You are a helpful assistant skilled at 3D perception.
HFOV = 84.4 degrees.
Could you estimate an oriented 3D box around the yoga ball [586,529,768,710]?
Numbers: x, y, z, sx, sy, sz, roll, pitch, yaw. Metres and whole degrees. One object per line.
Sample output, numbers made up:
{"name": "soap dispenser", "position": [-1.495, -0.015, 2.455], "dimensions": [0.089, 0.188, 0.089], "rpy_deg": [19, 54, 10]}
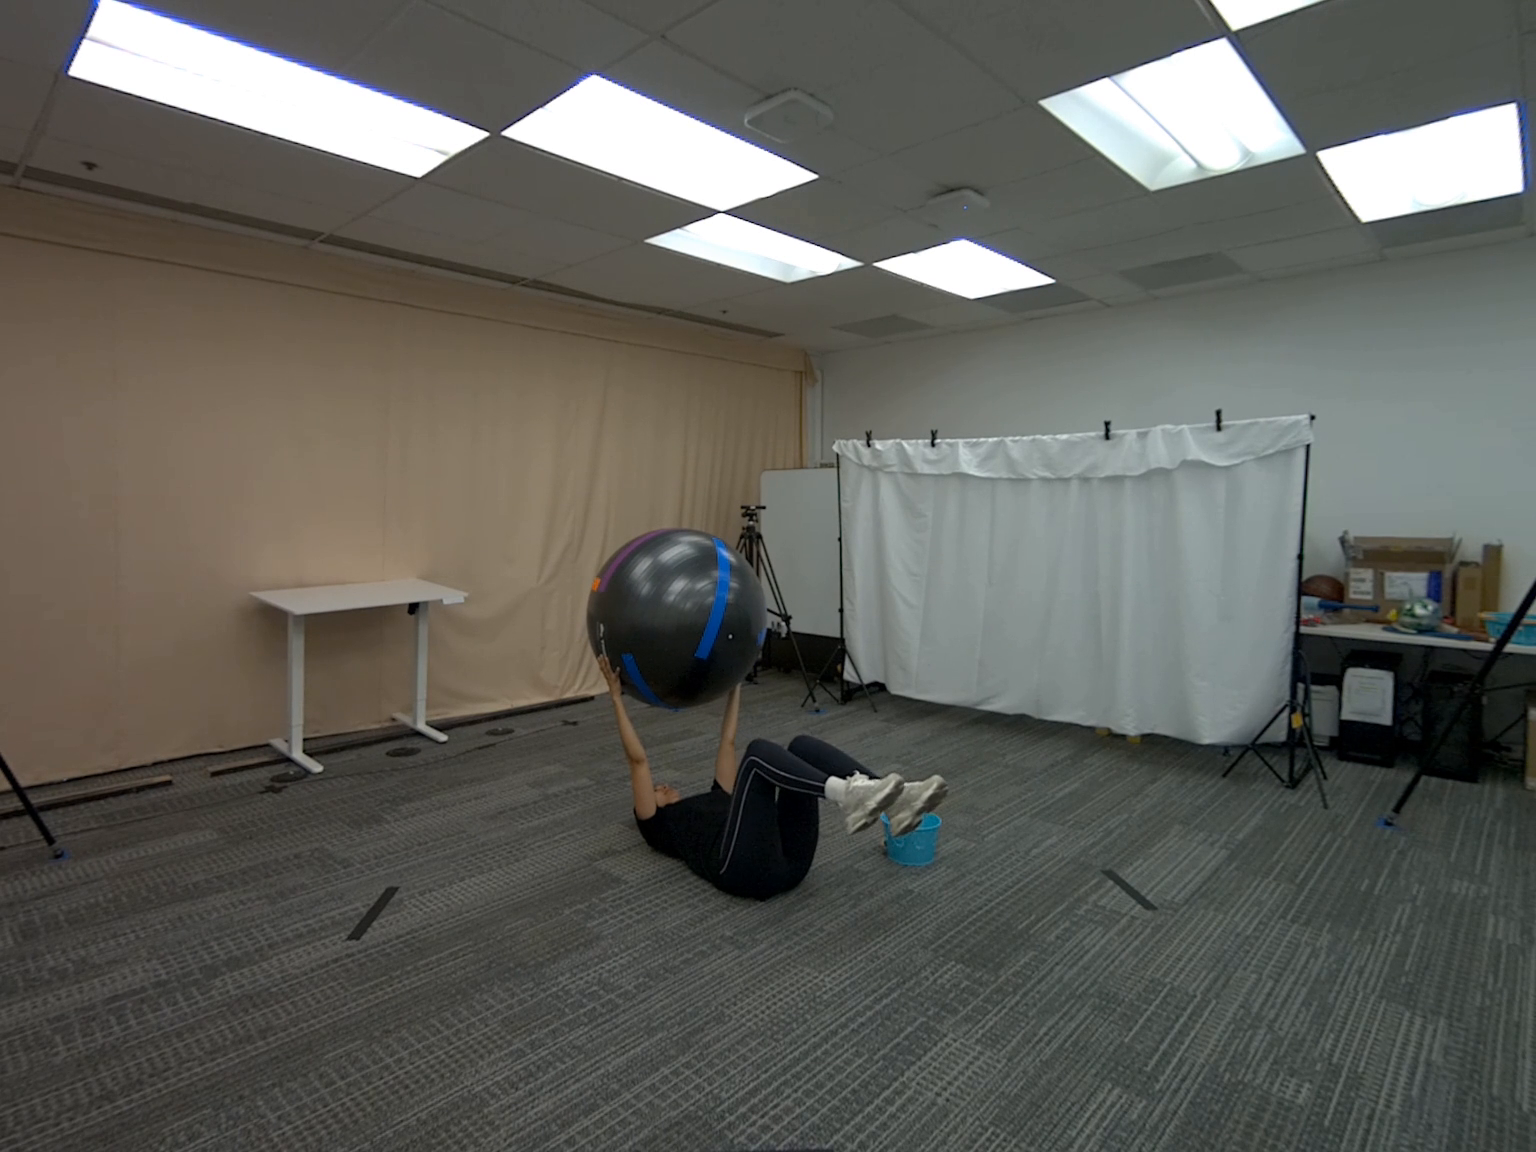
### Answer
{"name": "yoga ball", "position": [-0.383, 0.178, 3.550], "dimensions": [0.757, 0.756, 0.761], "rpy_deg": [3, 5, -2]}
